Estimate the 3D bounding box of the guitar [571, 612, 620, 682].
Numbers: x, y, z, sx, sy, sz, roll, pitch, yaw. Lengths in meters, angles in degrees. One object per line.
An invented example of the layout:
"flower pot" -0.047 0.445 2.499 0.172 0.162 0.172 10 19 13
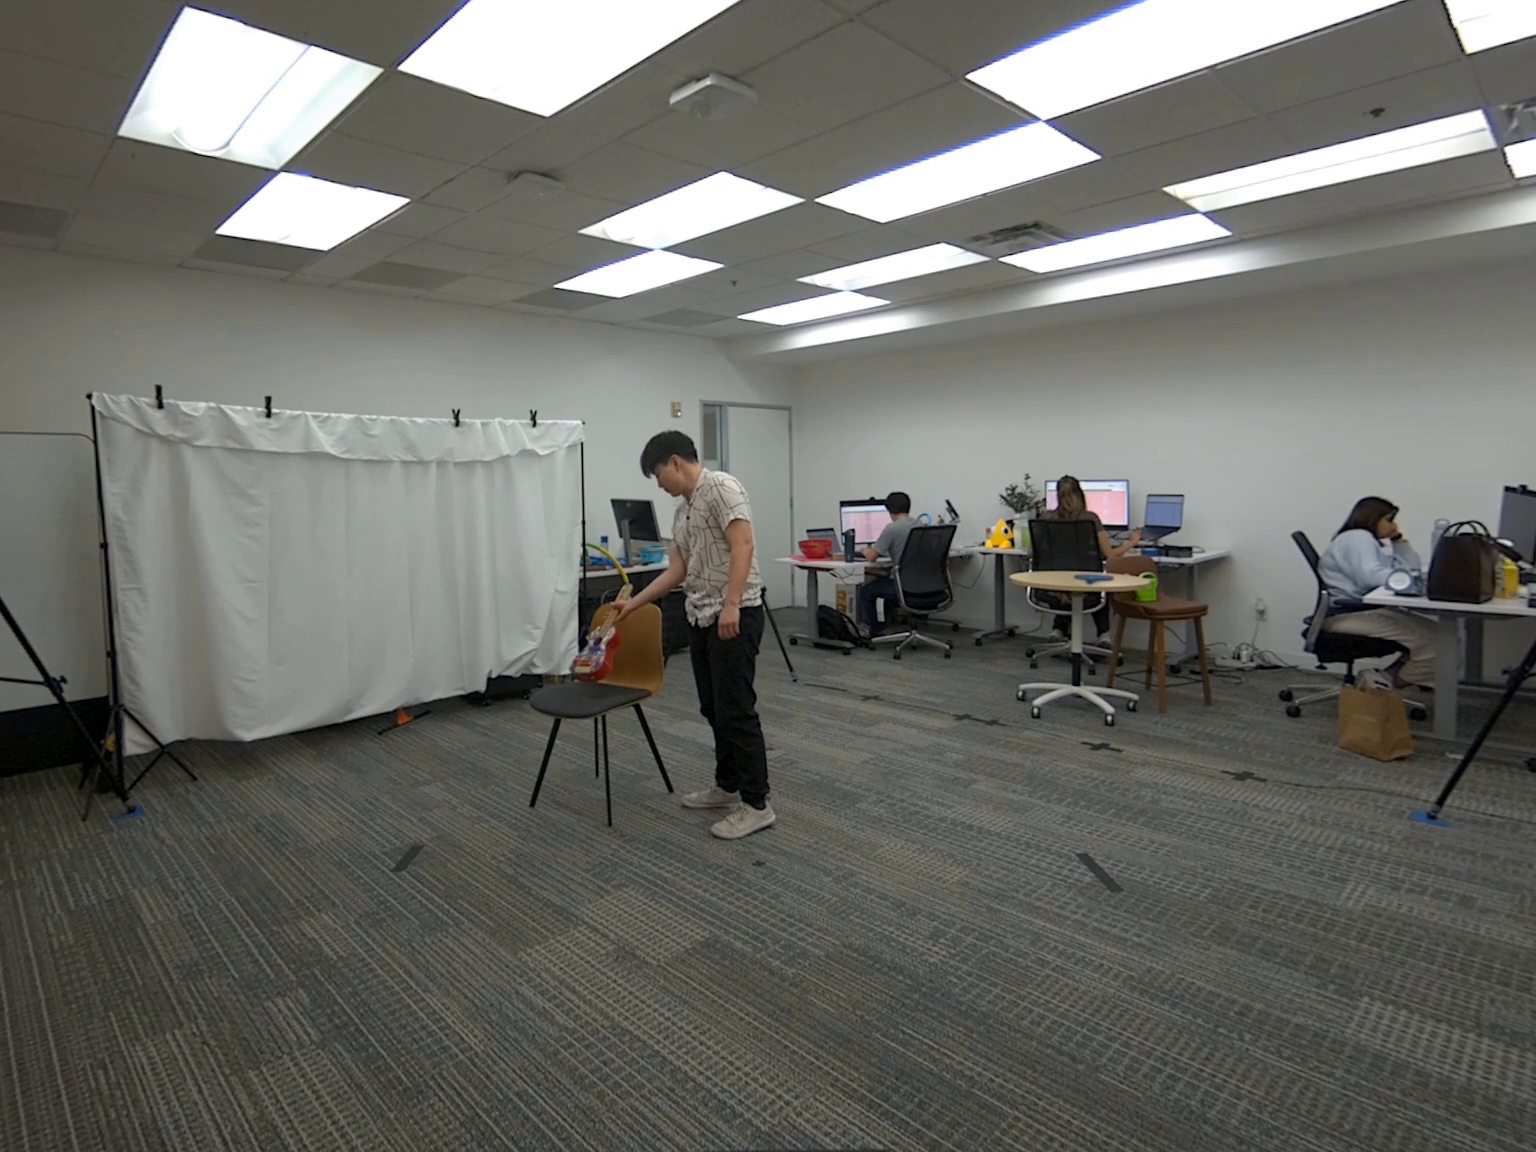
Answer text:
"guitar" -0.685 0.249 3.762 0.199 0.501 0.068 3 -38 39
